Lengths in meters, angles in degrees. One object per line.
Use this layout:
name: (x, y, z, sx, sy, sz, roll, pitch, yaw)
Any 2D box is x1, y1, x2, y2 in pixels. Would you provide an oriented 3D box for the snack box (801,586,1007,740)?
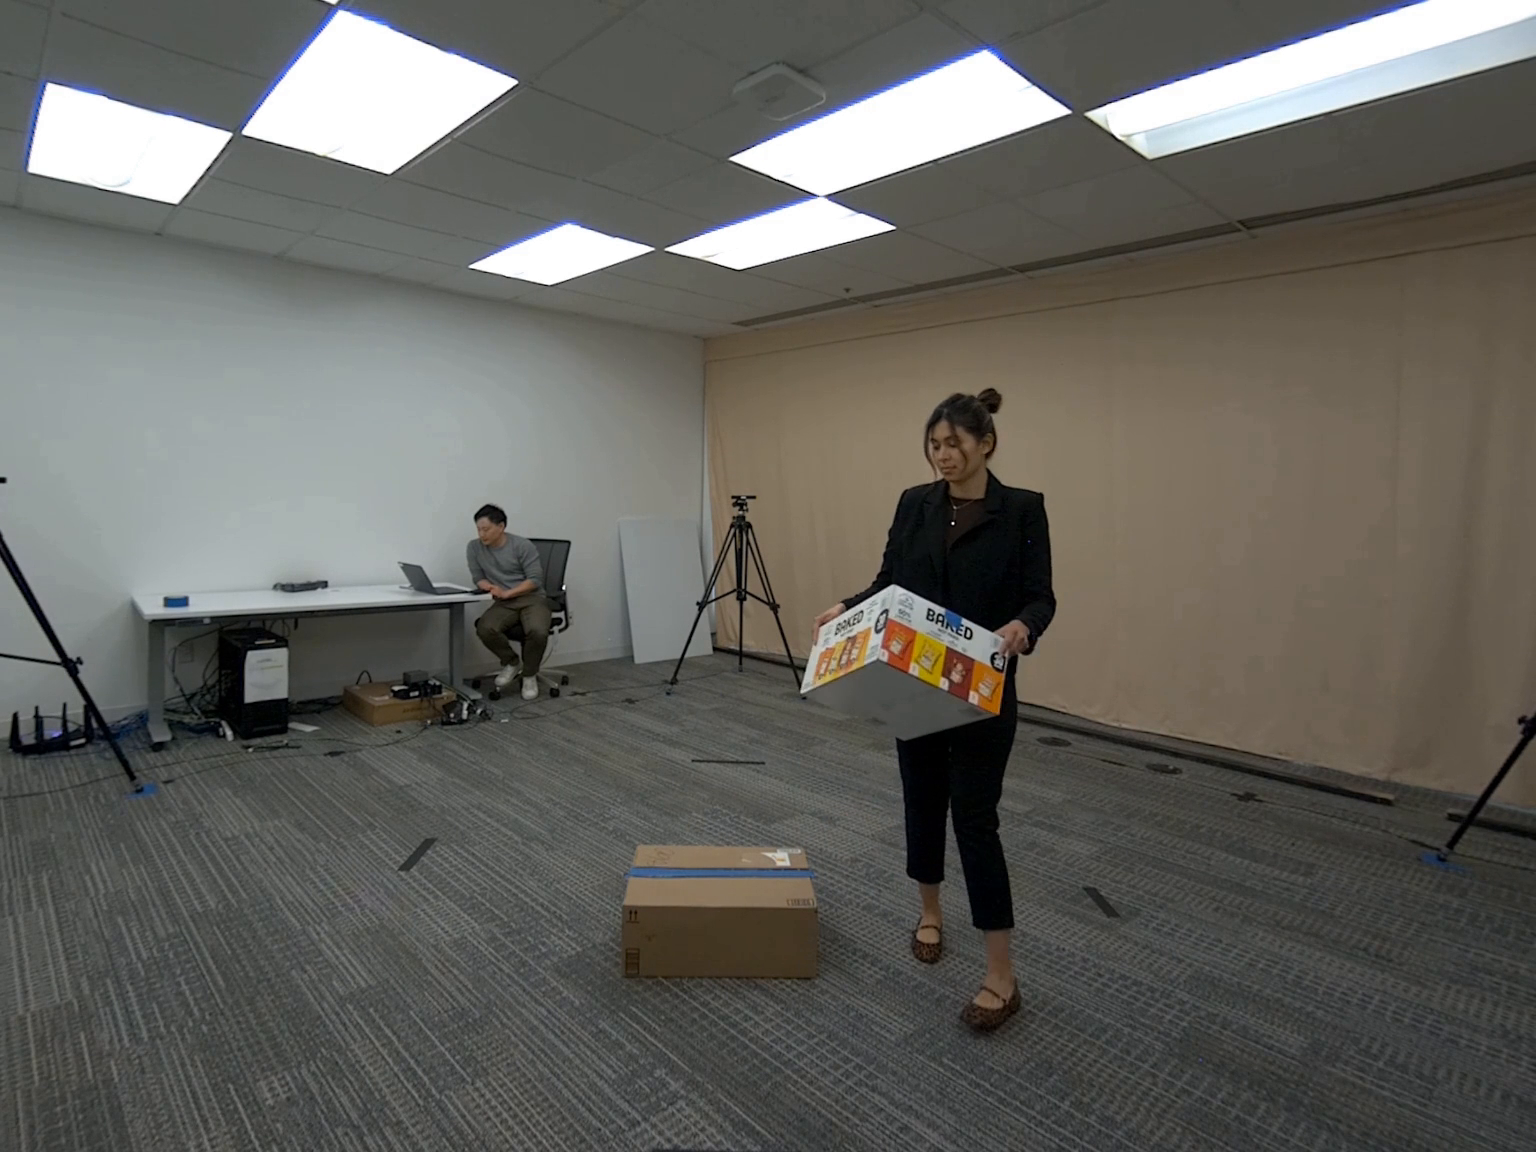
snack box: (0.329, 0.237, 2.159, 0.336, 0.208, 0.406, 27, -28, -13)
